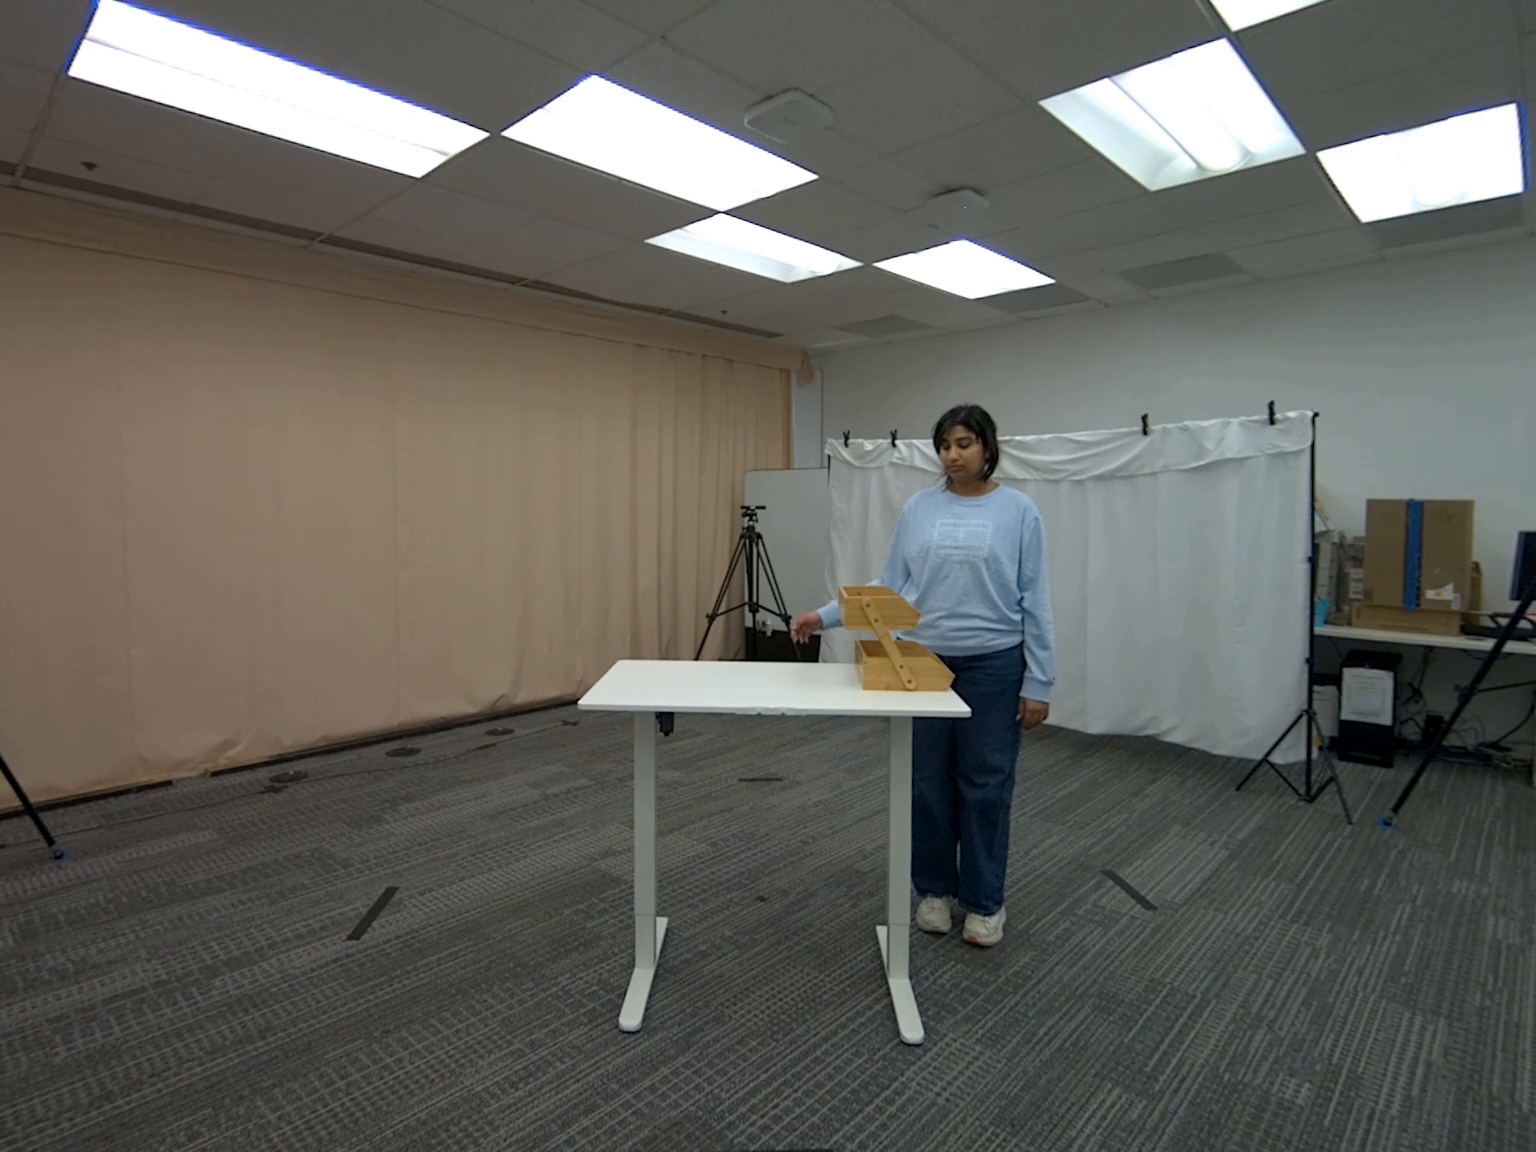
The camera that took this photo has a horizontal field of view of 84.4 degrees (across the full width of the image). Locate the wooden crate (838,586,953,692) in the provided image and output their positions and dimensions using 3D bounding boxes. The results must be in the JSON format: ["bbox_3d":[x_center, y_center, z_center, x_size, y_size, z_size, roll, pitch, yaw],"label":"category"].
[{"bbox_3d":[0.383,0.175,2.458,0.304,0.272,0.323,-1,4,4],"label":"wooden crate"}]
